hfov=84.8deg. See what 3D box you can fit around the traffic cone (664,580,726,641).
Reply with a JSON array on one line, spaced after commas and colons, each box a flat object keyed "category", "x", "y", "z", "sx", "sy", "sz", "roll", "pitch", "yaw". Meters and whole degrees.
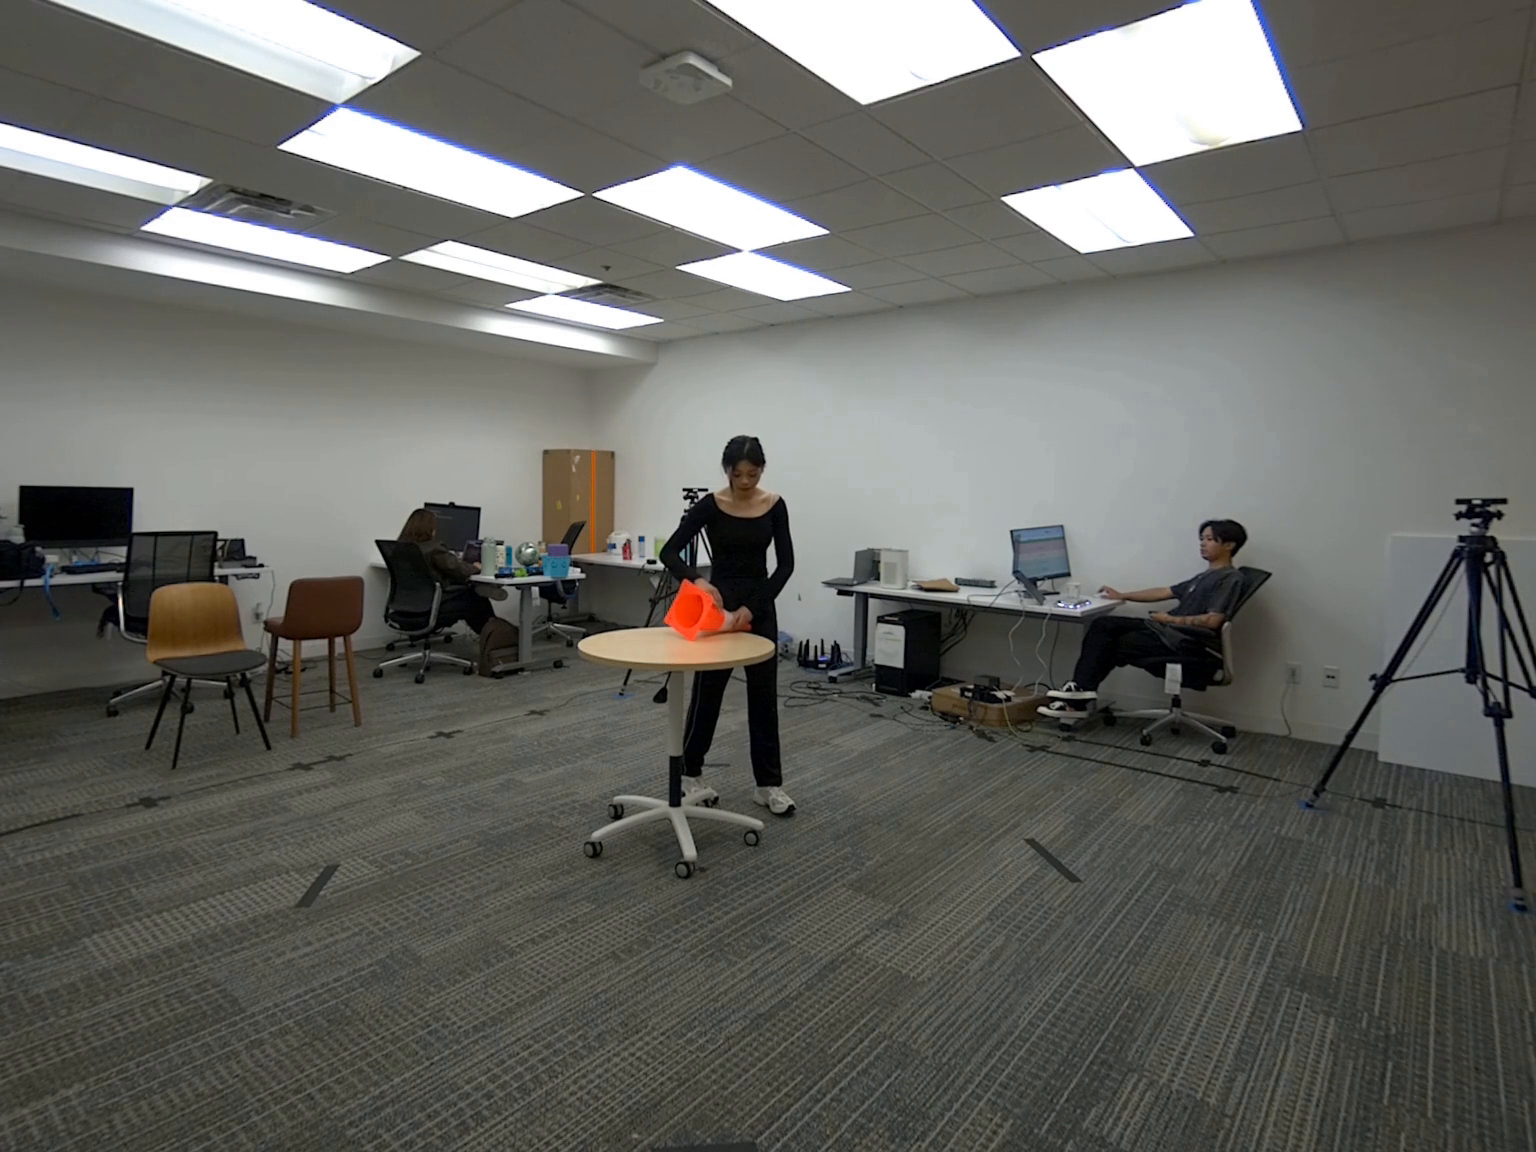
[{"category": "traffic cone", "x": -0.204, "y": 0.187, "z": 3.528, "sx": 0.370, "sy": 0.202, "sz": 0.213, "roll": 19, "pitch": 10, "yaw": -32}]
